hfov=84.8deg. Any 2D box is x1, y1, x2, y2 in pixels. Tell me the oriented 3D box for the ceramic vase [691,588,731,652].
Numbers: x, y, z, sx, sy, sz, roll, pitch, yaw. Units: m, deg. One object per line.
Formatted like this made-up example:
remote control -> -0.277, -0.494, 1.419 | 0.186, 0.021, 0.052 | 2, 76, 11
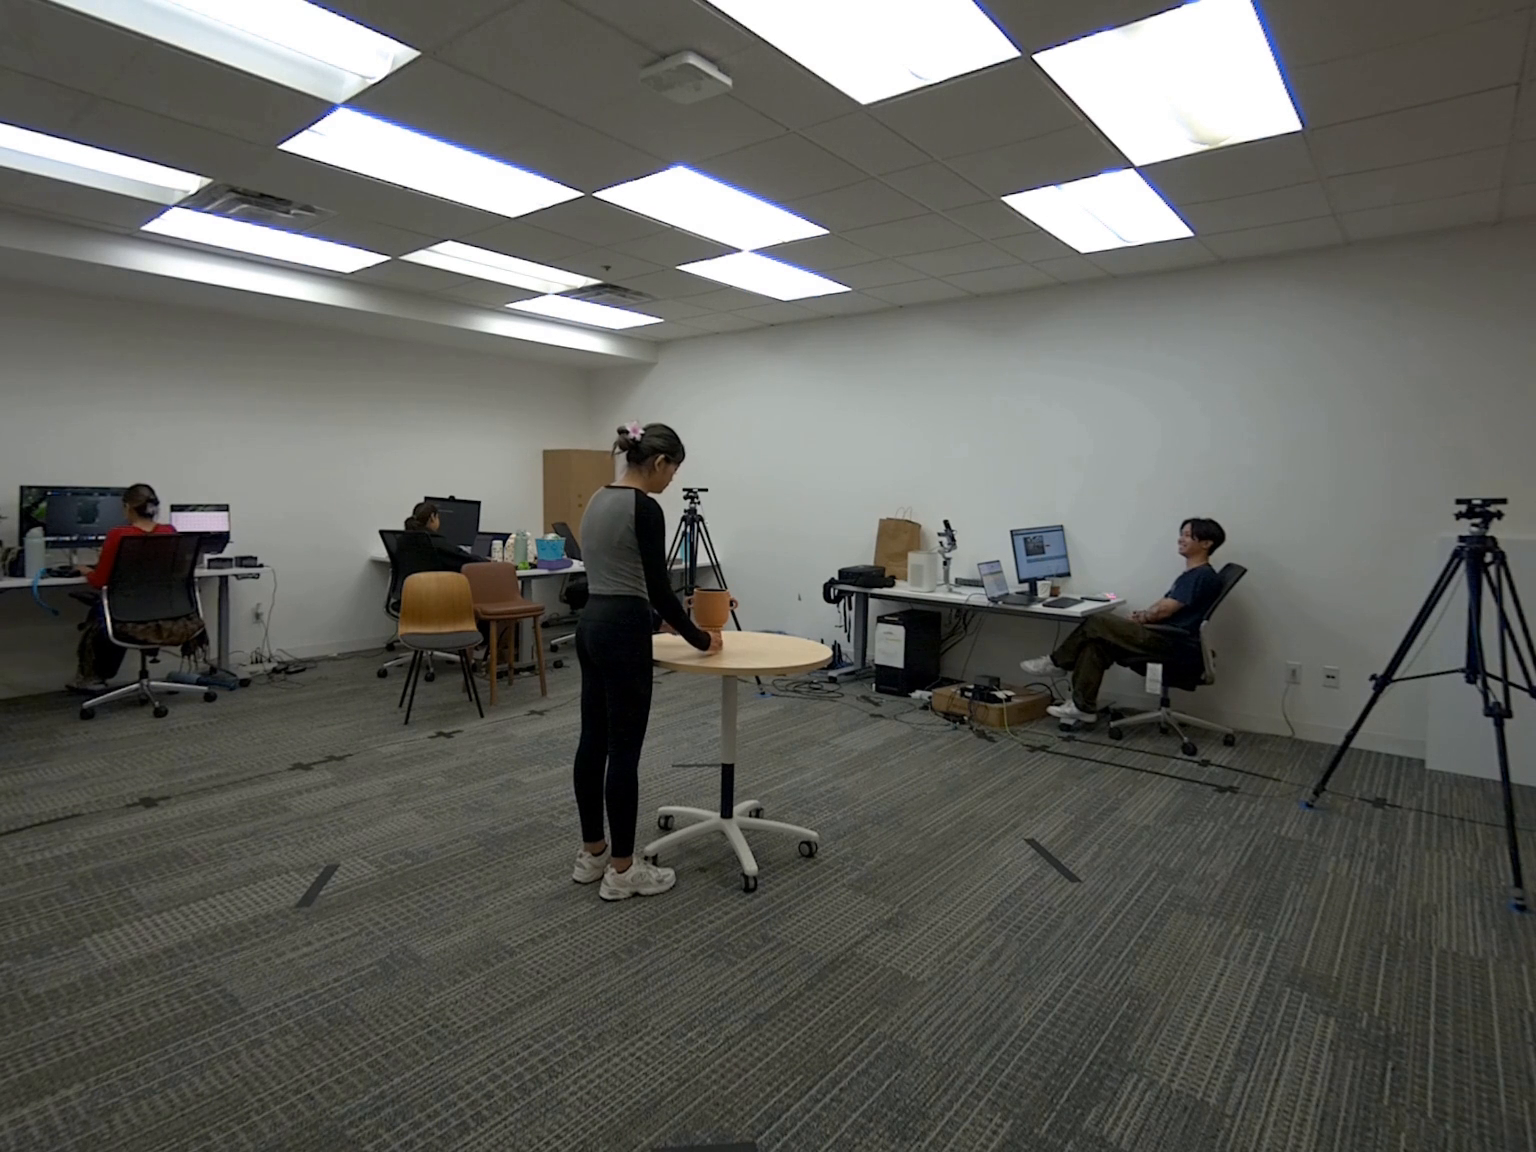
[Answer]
ceramic vase -> -0.227, 0.159, 3.173 | 0.164, 0.219, 0.131 | 5, 4, 36
